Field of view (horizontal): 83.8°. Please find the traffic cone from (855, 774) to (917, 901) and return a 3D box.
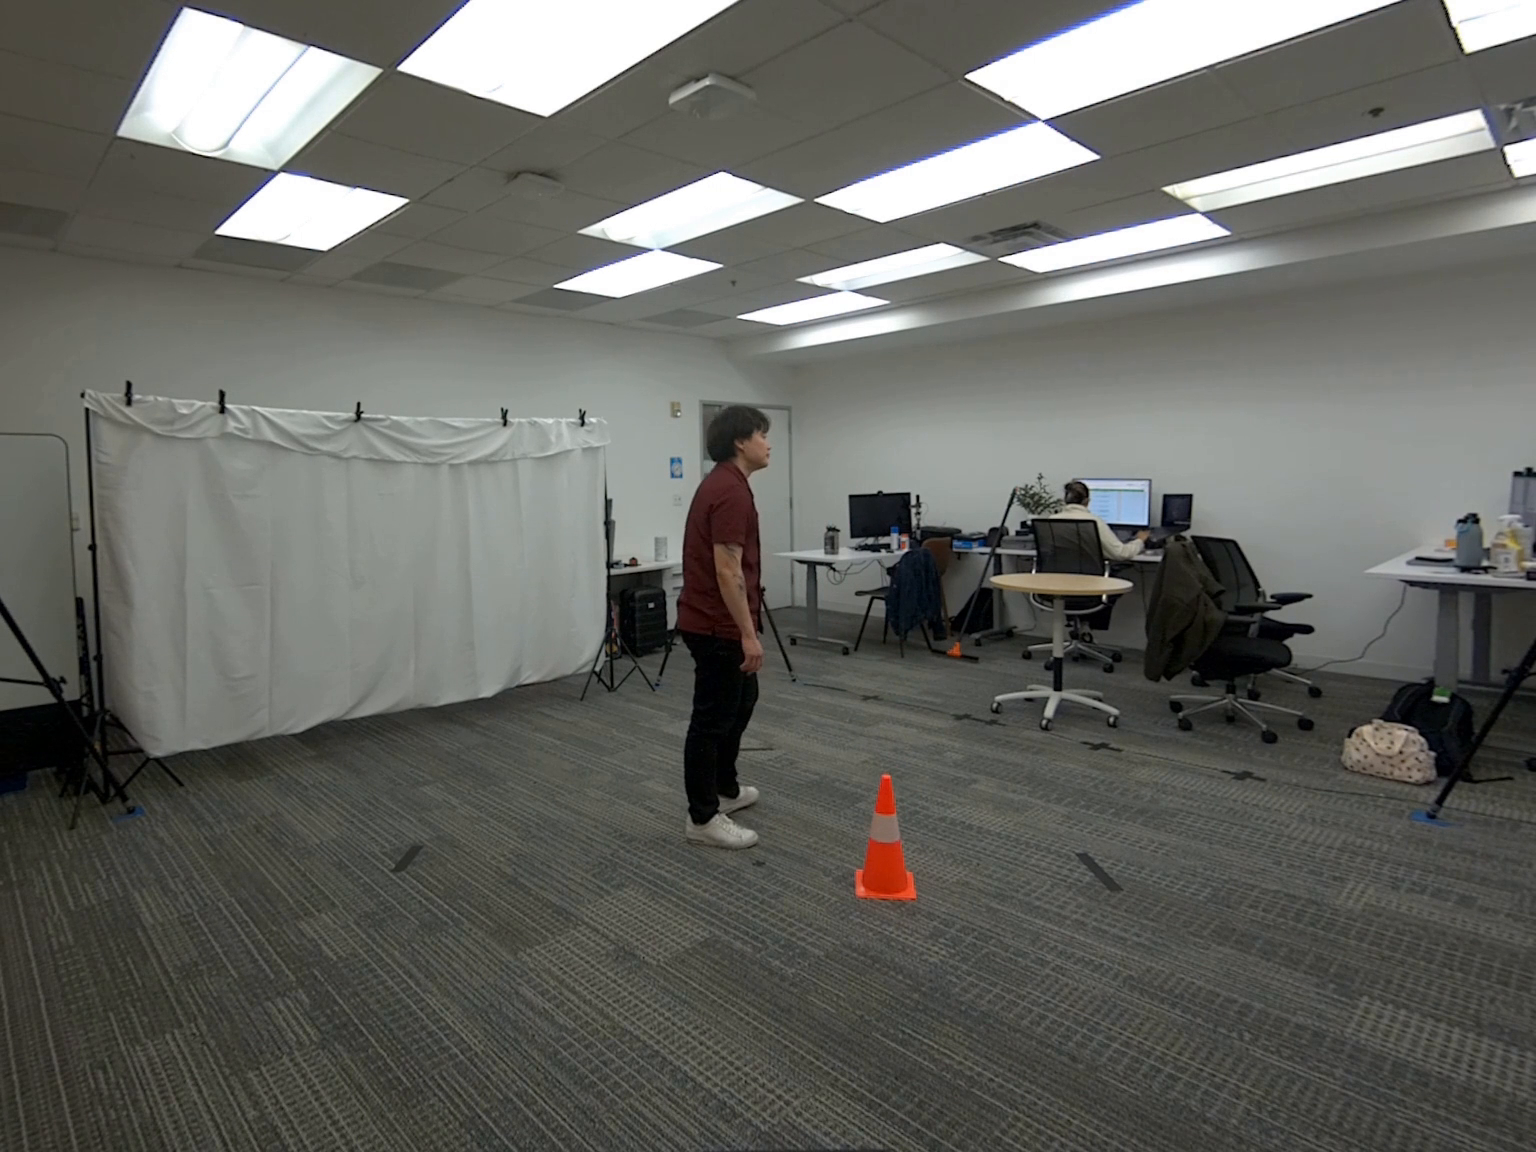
[{"bbox_3d":[0.410,0.876,2.922,0.207,0.382,0.202,1,5,9],"label":"traffic cone"}]
